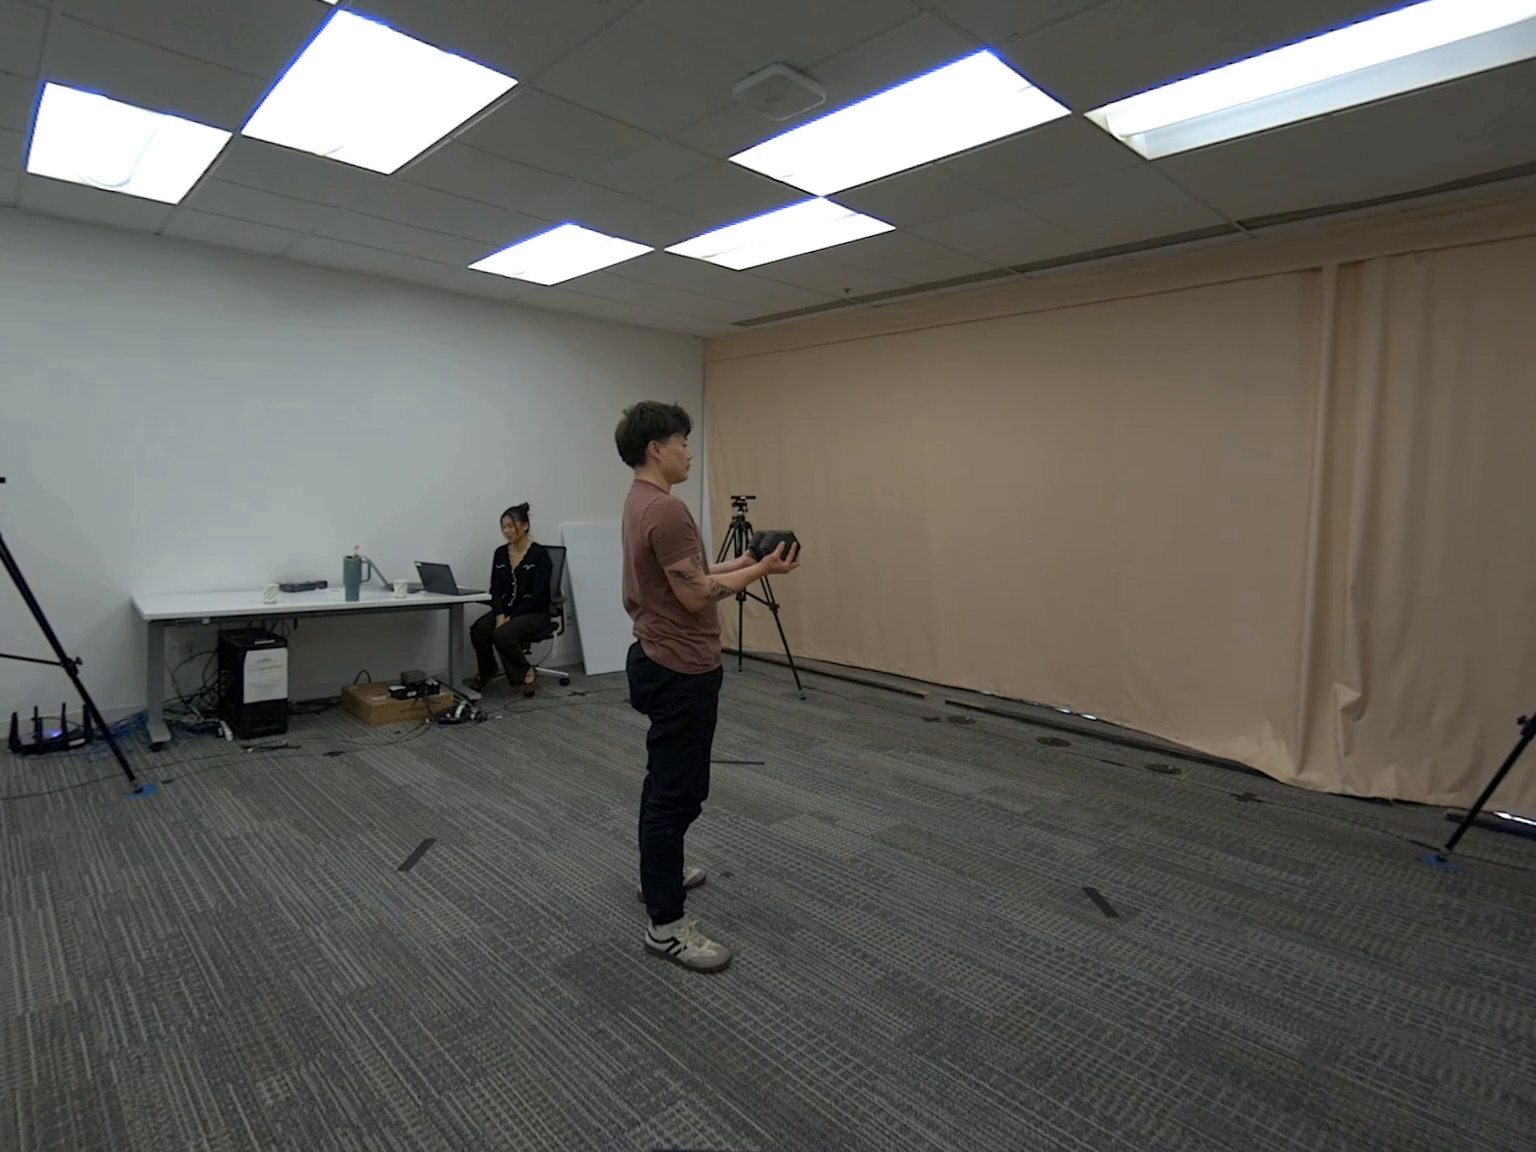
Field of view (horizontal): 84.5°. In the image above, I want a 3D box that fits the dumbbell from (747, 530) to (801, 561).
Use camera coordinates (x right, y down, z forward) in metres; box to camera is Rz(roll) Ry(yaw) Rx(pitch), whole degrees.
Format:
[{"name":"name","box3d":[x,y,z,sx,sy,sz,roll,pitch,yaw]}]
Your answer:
[{"name":"dumbbell","box3d":[0.006,-0.092,2.744,0.122,0.109,0.295,2,1,-9]}]
